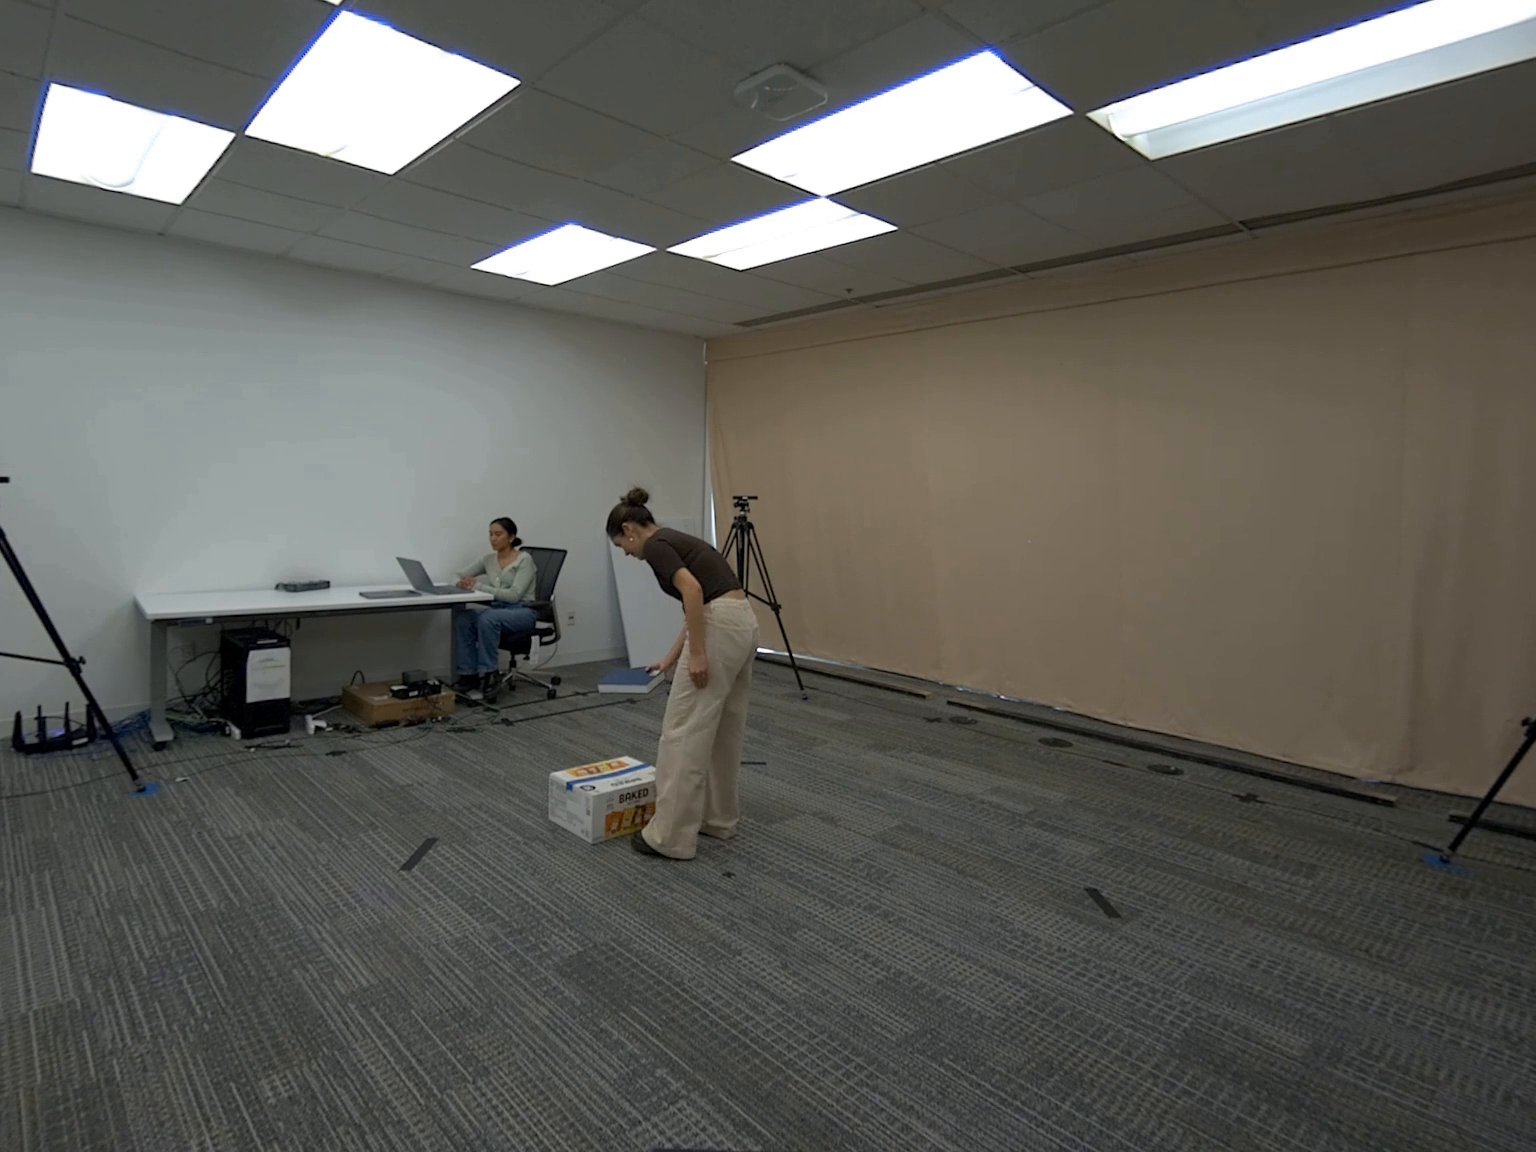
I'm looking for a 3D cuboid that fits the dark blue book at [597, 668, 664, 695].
[{"bbox_3d":[-0.583,0.434,3.502,0.249,0.045,0.162,-2,13,25],"label":"dark blue book"}]
